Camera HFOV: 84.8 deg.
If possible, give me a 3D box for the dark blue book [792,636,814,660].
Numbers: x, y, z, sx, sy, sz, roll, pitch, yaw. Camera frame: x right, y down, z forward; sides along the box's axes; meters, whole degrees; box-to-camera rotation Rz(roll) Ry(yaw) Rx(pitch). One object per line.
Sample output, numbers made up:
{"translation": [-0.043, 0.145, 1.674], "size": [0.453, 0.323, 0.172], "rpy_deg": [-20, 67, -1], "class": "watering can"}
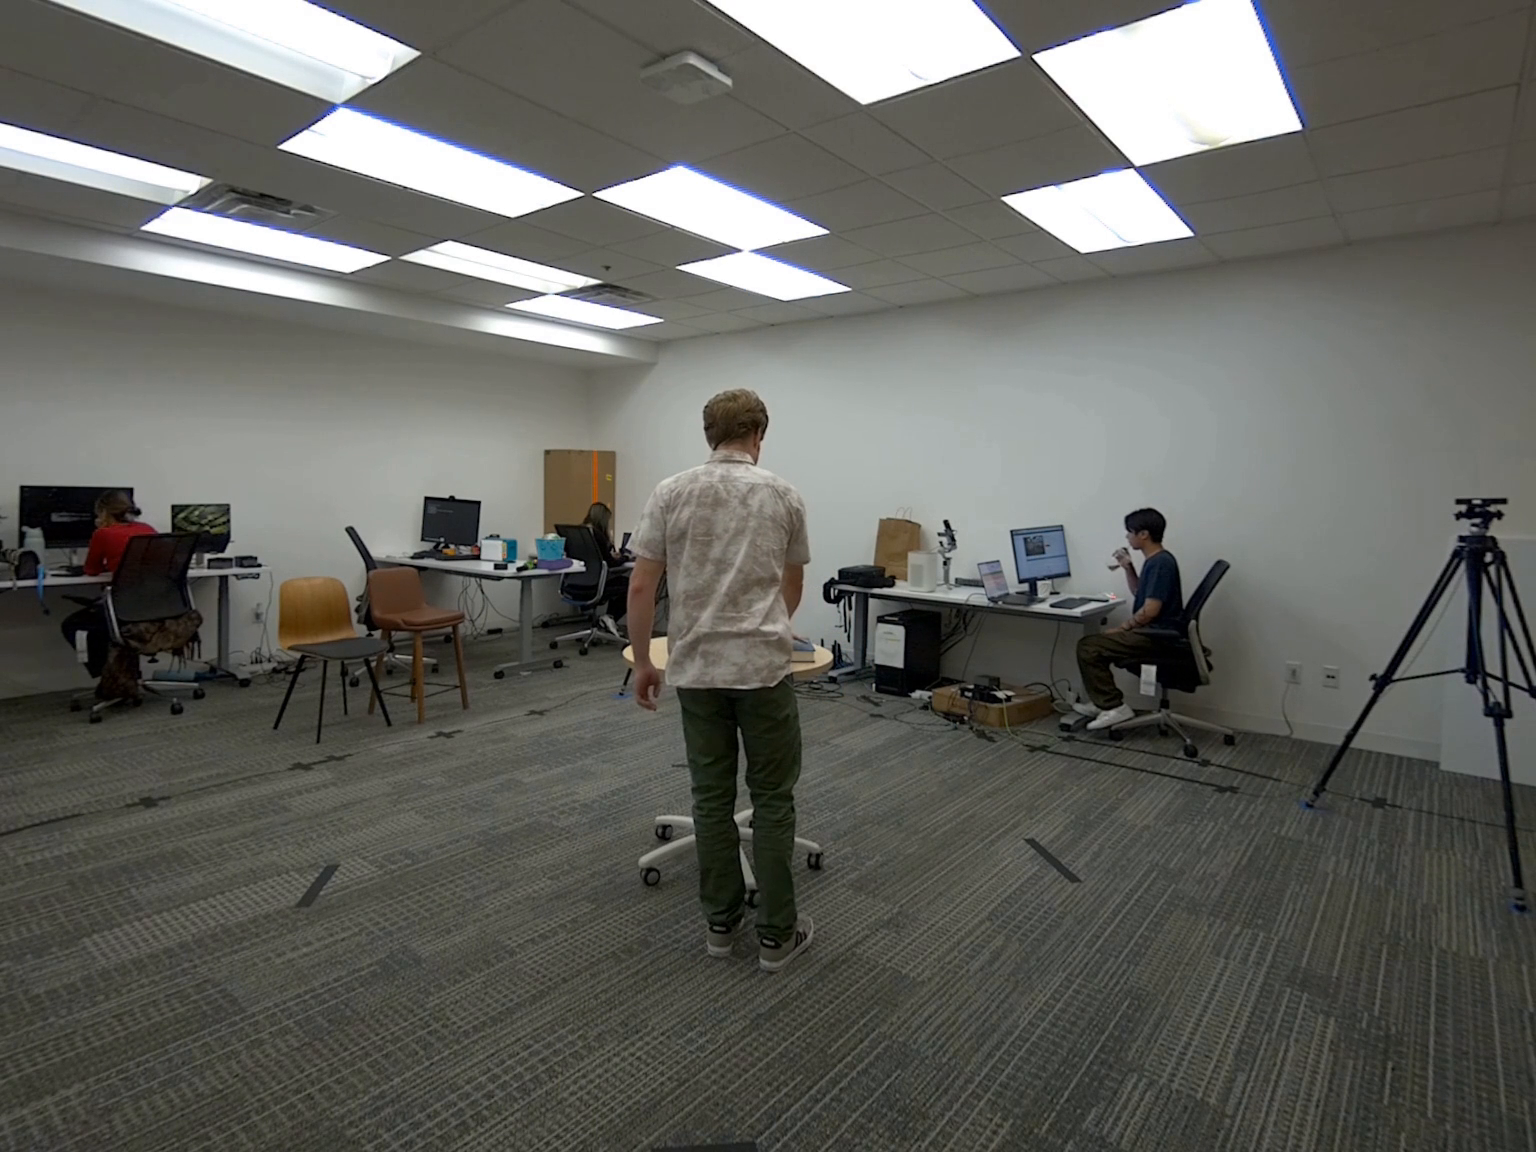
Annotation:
{"translation": [0.070, 0.257, 3.065], "size": [0.163, 0.045, 0.246], "rpy_deg": [1, 5, -2], "class": "dark blue book"}
